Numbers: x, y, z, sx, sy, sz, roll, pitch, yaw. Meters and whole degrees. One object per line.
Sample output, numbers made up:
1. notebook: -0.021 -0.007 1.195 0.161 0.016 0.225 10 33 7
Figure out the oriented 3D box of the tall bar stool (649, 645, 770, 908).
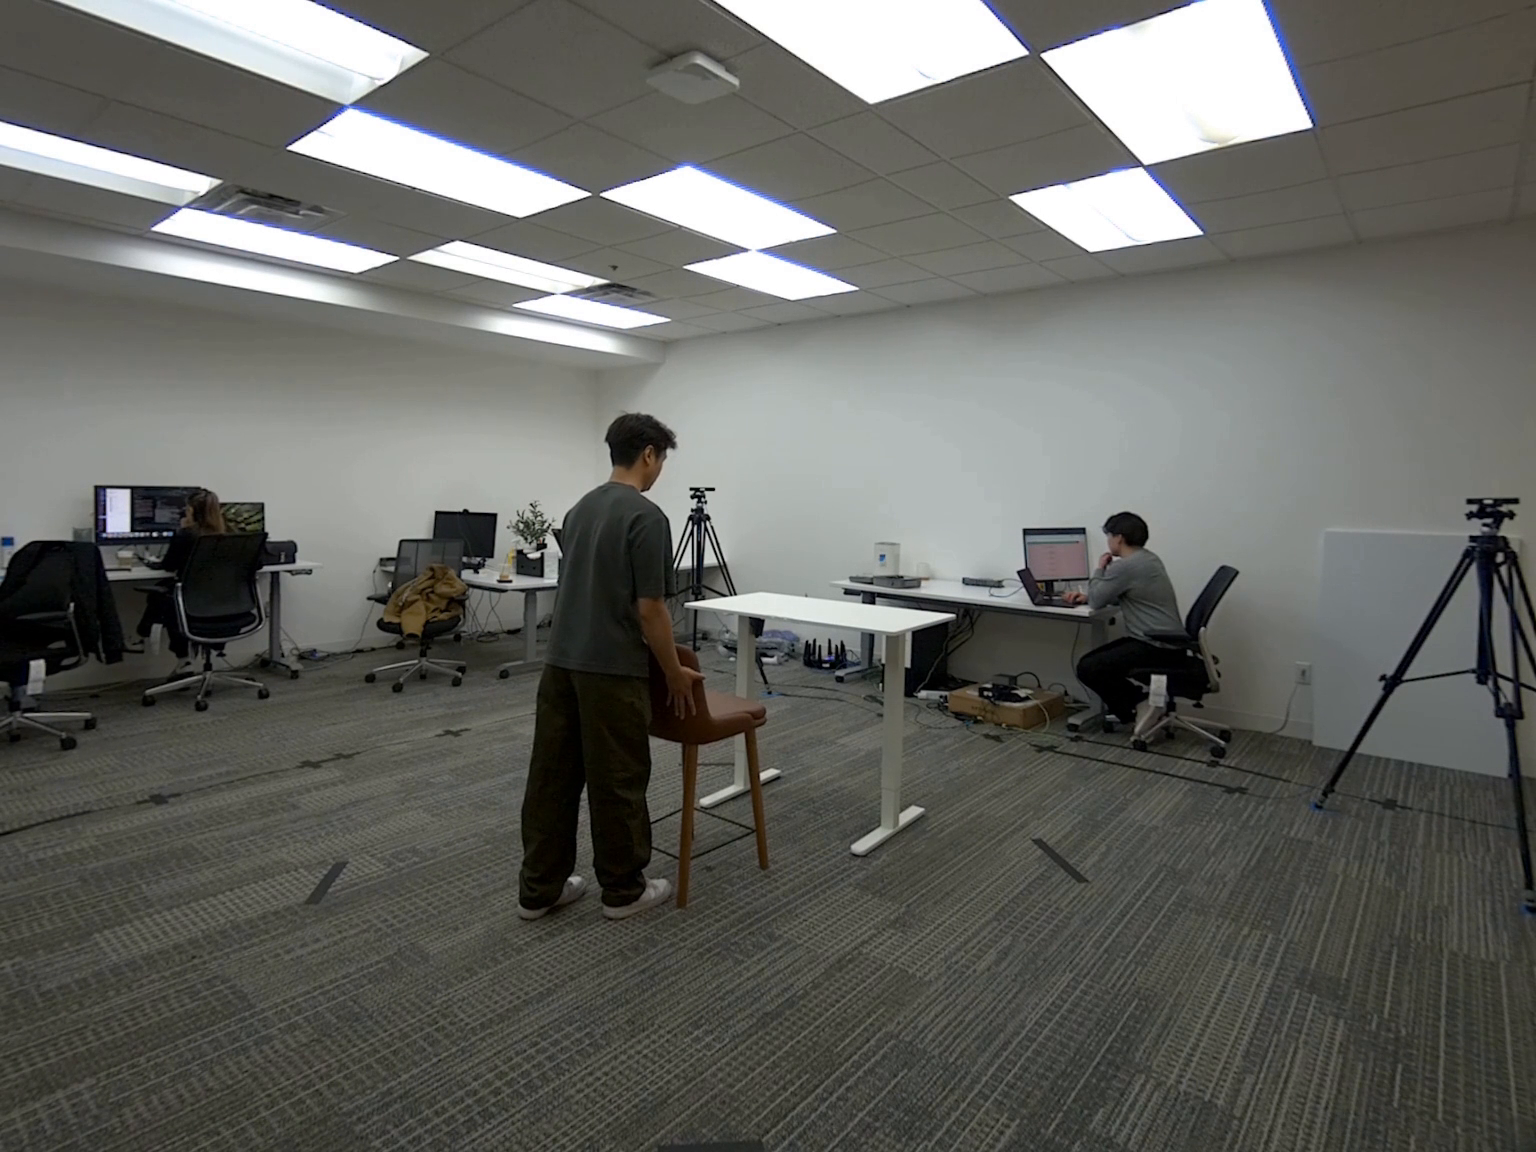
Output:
1. tall bar stool: -0.297 0.633 3.066 0.472 0.886 0.454 4 6 39
